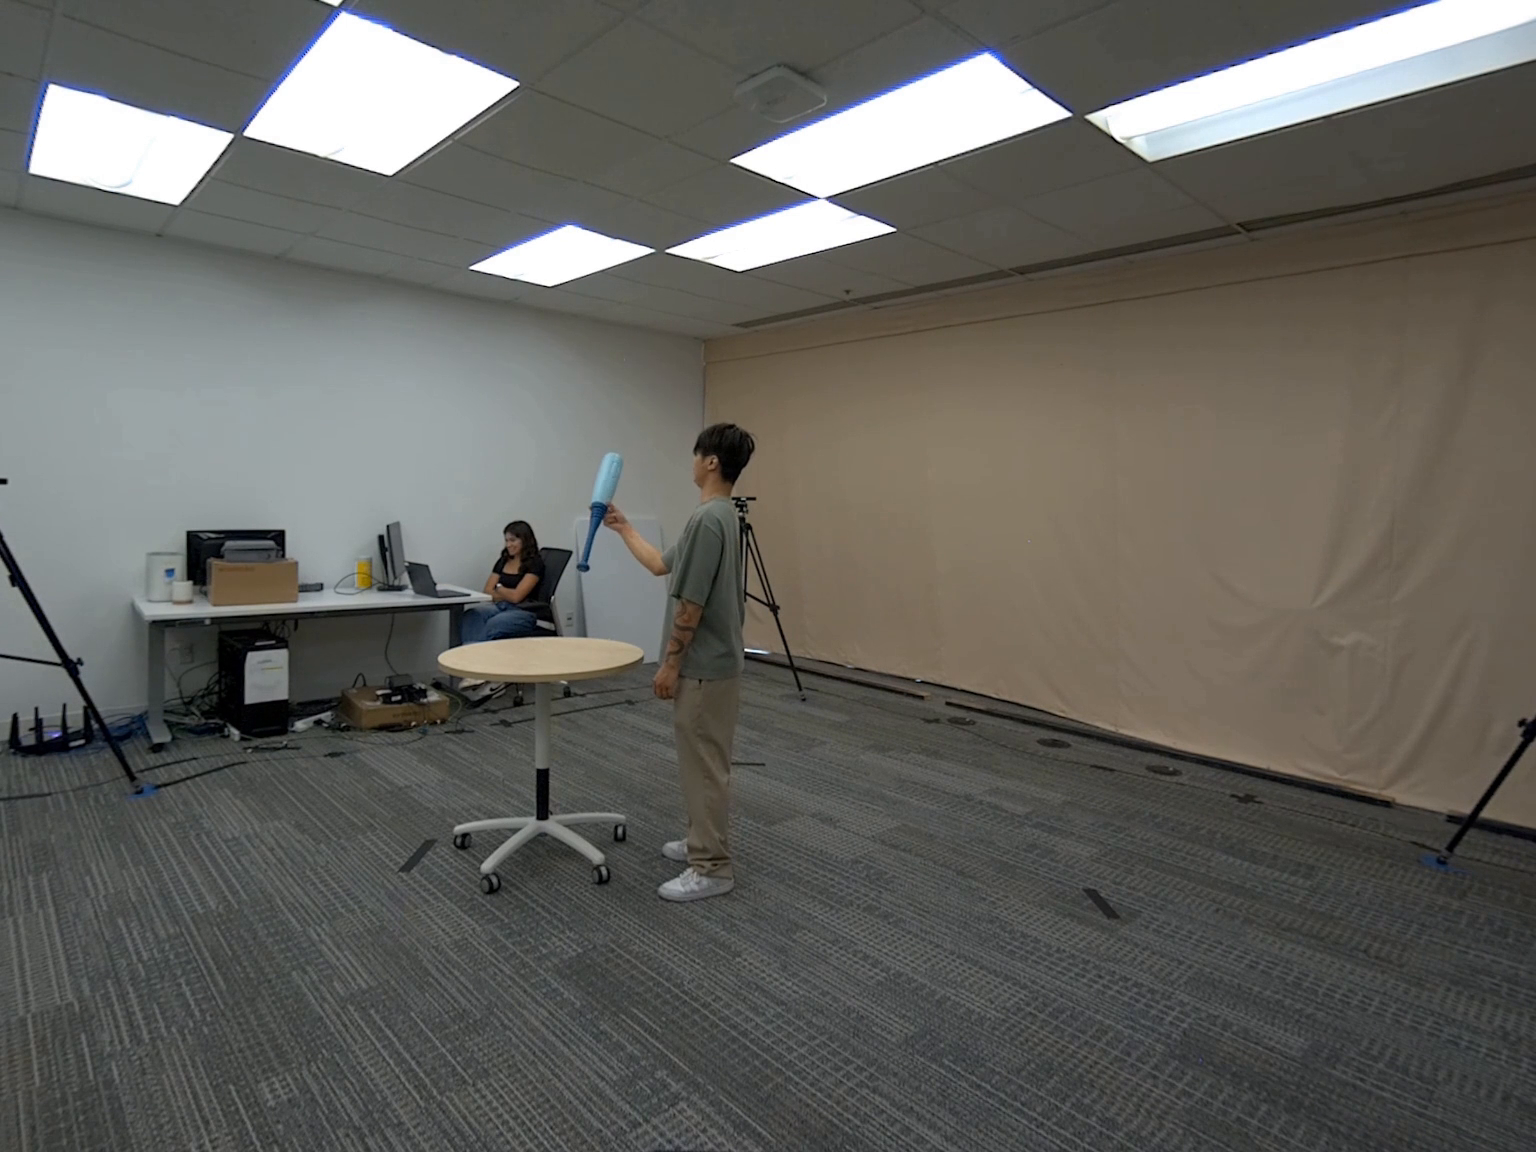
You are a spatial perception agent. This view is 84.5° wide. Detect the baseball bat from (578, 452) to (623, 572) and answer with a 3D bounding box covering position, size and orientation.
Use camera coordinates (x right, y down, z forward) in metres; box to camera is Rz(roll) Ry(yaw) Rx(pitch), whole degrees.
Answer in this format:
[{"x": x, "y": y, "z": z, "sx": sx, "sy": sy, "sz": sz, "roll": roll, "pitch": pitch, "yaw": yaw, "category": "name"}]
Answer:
[{"x": -0.680, "y": -0.259, "z": 3.350, "sx": 0.089, "sy": 0.551, "sz": 0.087, "roll": 7, "pitch": -32, "yaw": 3, "category": "baseball bat"}]
